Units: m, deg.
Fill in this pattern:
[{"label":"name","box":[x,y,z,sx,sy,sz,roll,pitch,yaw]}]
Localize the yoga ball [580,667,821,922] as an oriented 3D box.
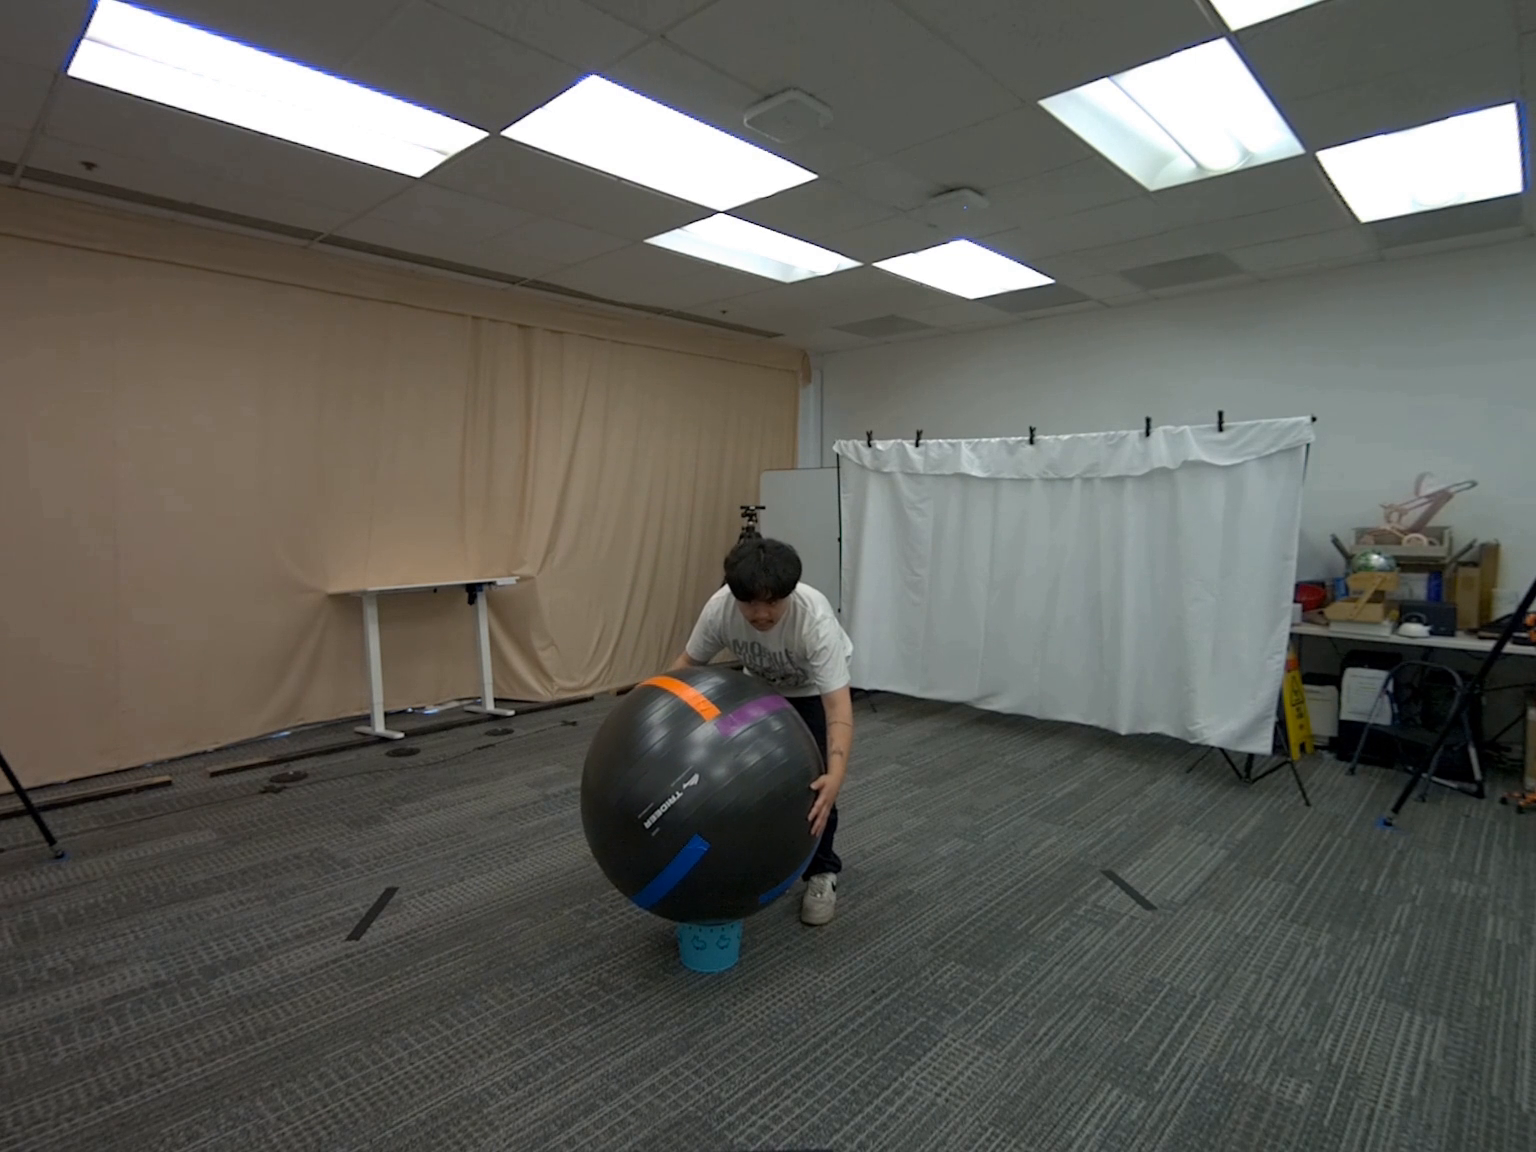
[{"label":"yoga ball","box":[-0.215,0.670,2.587,0.757,0.756,0.760,0,4,-2]}]
